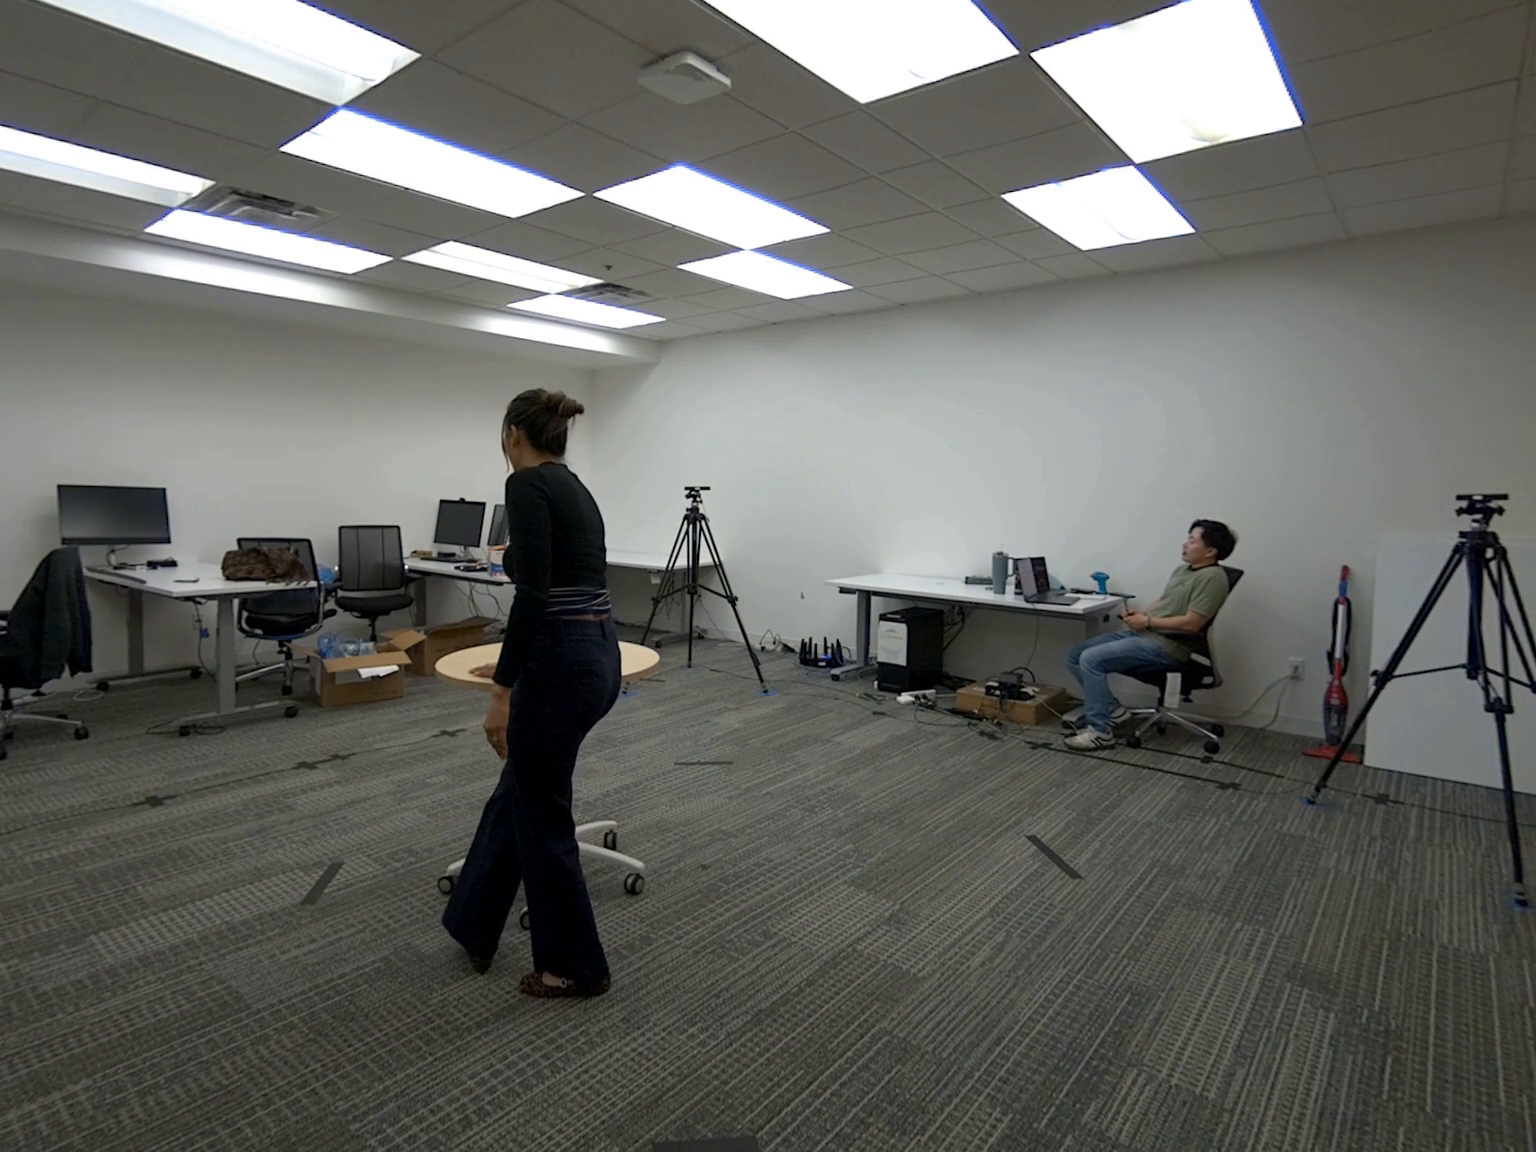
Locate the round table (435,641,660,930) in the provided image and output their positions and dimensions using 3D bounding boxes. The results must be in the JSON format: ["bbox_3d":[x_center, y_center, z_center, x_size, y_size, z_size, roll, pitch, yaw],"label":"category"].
[{"bbox_3d":[-0.773,0.680,2.997,0.763,0.791,0.768,0,5,-2],"label":"round table"}]
